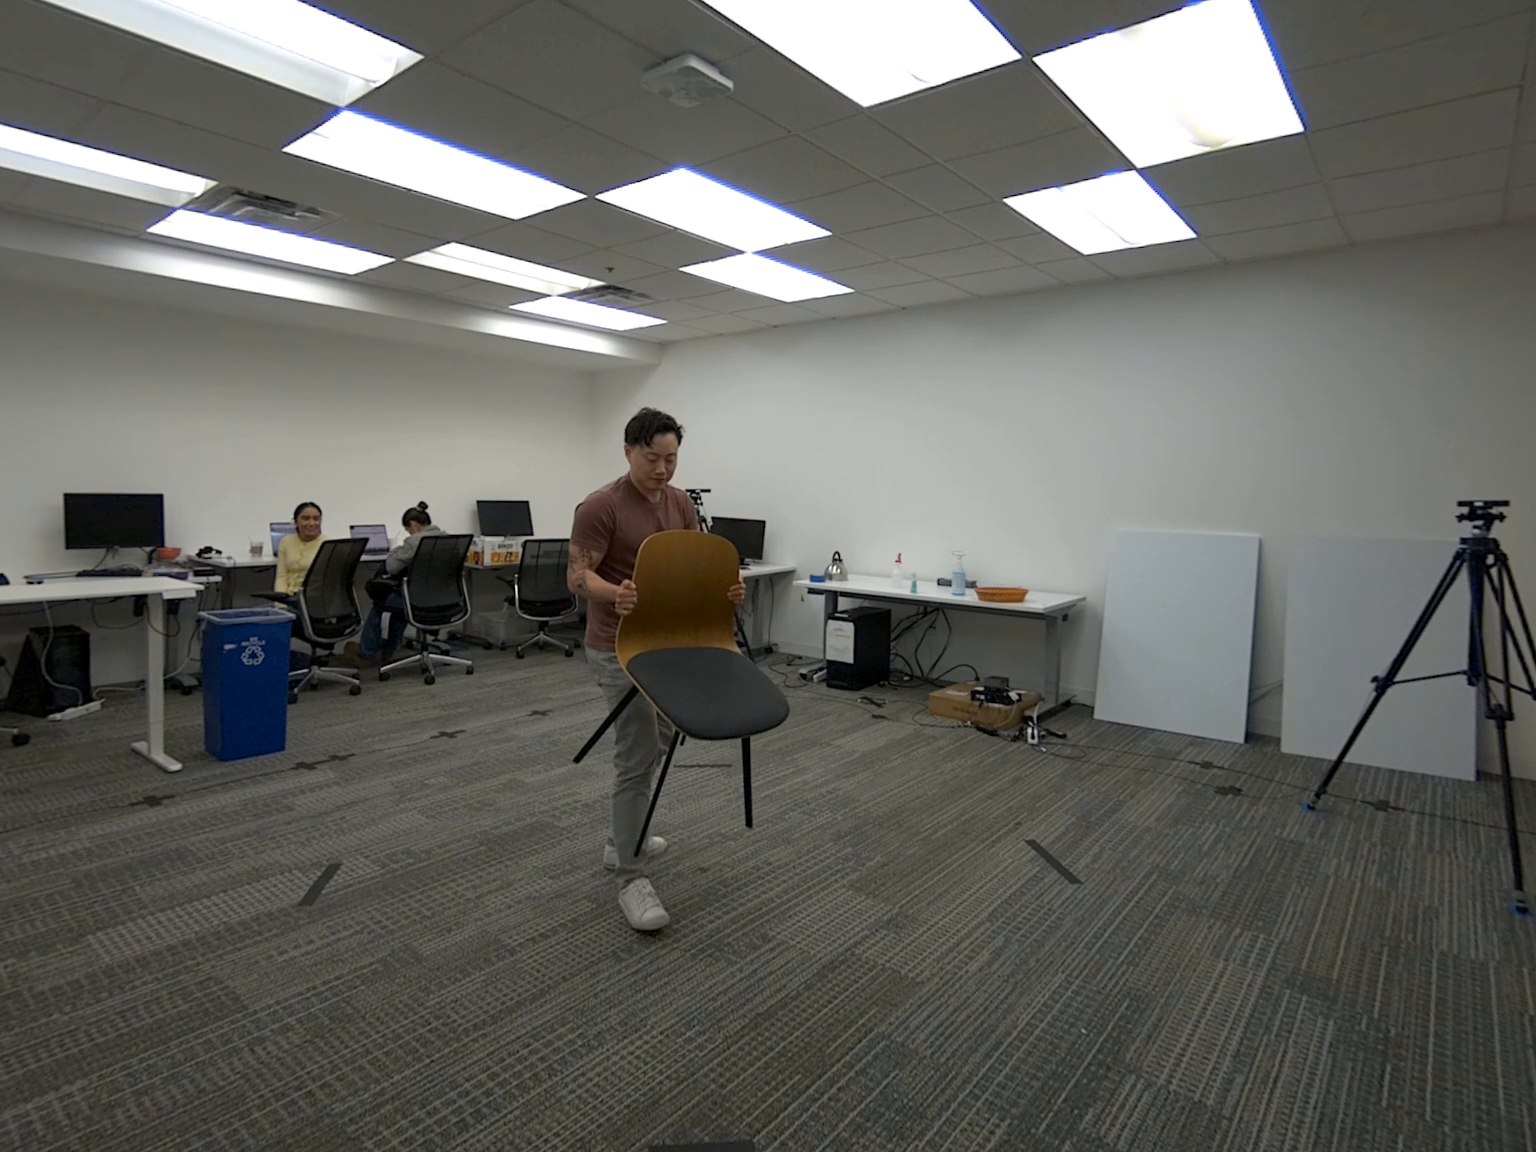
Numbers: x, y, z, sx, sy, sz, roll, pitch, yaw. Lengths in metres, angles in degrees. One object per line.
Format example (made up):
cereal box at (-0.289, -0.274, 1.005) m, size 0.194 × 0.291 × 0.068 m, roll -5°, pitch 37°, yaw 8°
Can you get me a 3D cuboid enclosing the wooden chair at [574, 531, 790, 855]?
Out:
wooden chair at (-0.228, 0.359, 2.677) m, size 0.463 × 0.868 × 0.545 m, roll 1°, pitch 22°, yaw -40°
